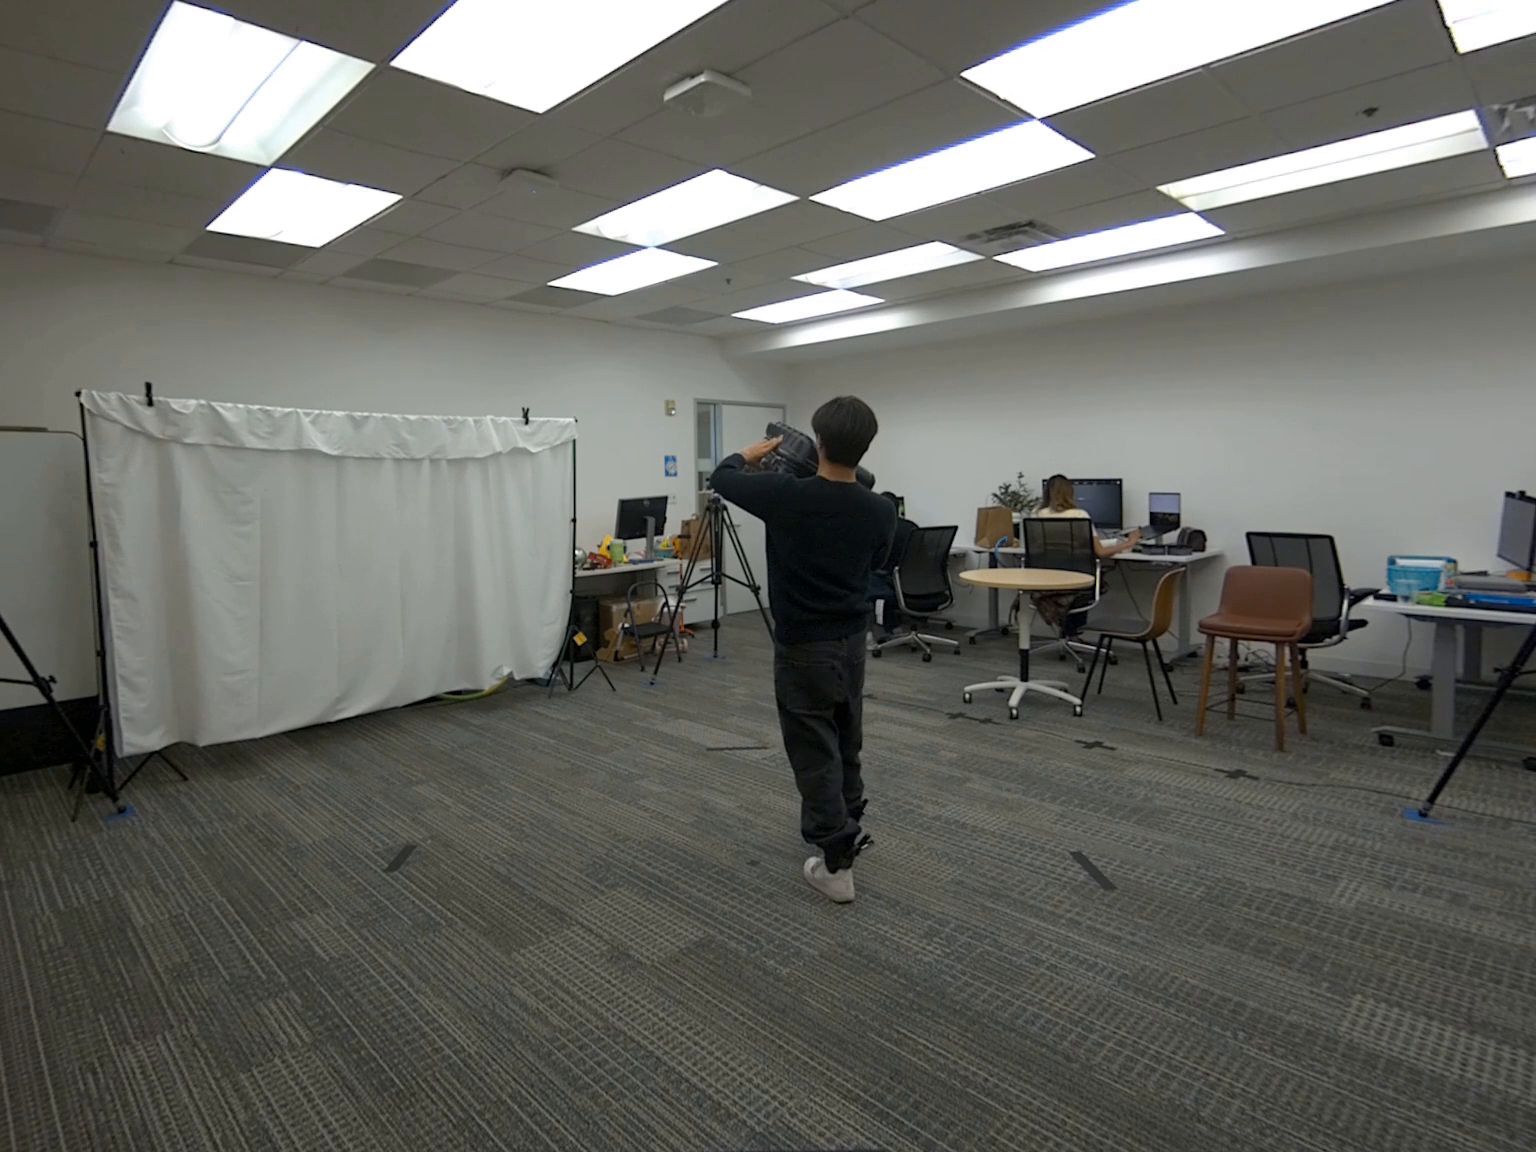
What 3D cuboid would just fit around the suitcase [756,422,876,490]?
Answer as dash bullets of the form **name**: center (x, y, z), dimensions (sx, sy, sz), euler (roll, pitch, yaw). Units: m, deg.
- **suitcase**: center (0.157, -0.396, 3.315), dimensions (0.367, 0.248, 0.563), euler (30, 8, -19)
